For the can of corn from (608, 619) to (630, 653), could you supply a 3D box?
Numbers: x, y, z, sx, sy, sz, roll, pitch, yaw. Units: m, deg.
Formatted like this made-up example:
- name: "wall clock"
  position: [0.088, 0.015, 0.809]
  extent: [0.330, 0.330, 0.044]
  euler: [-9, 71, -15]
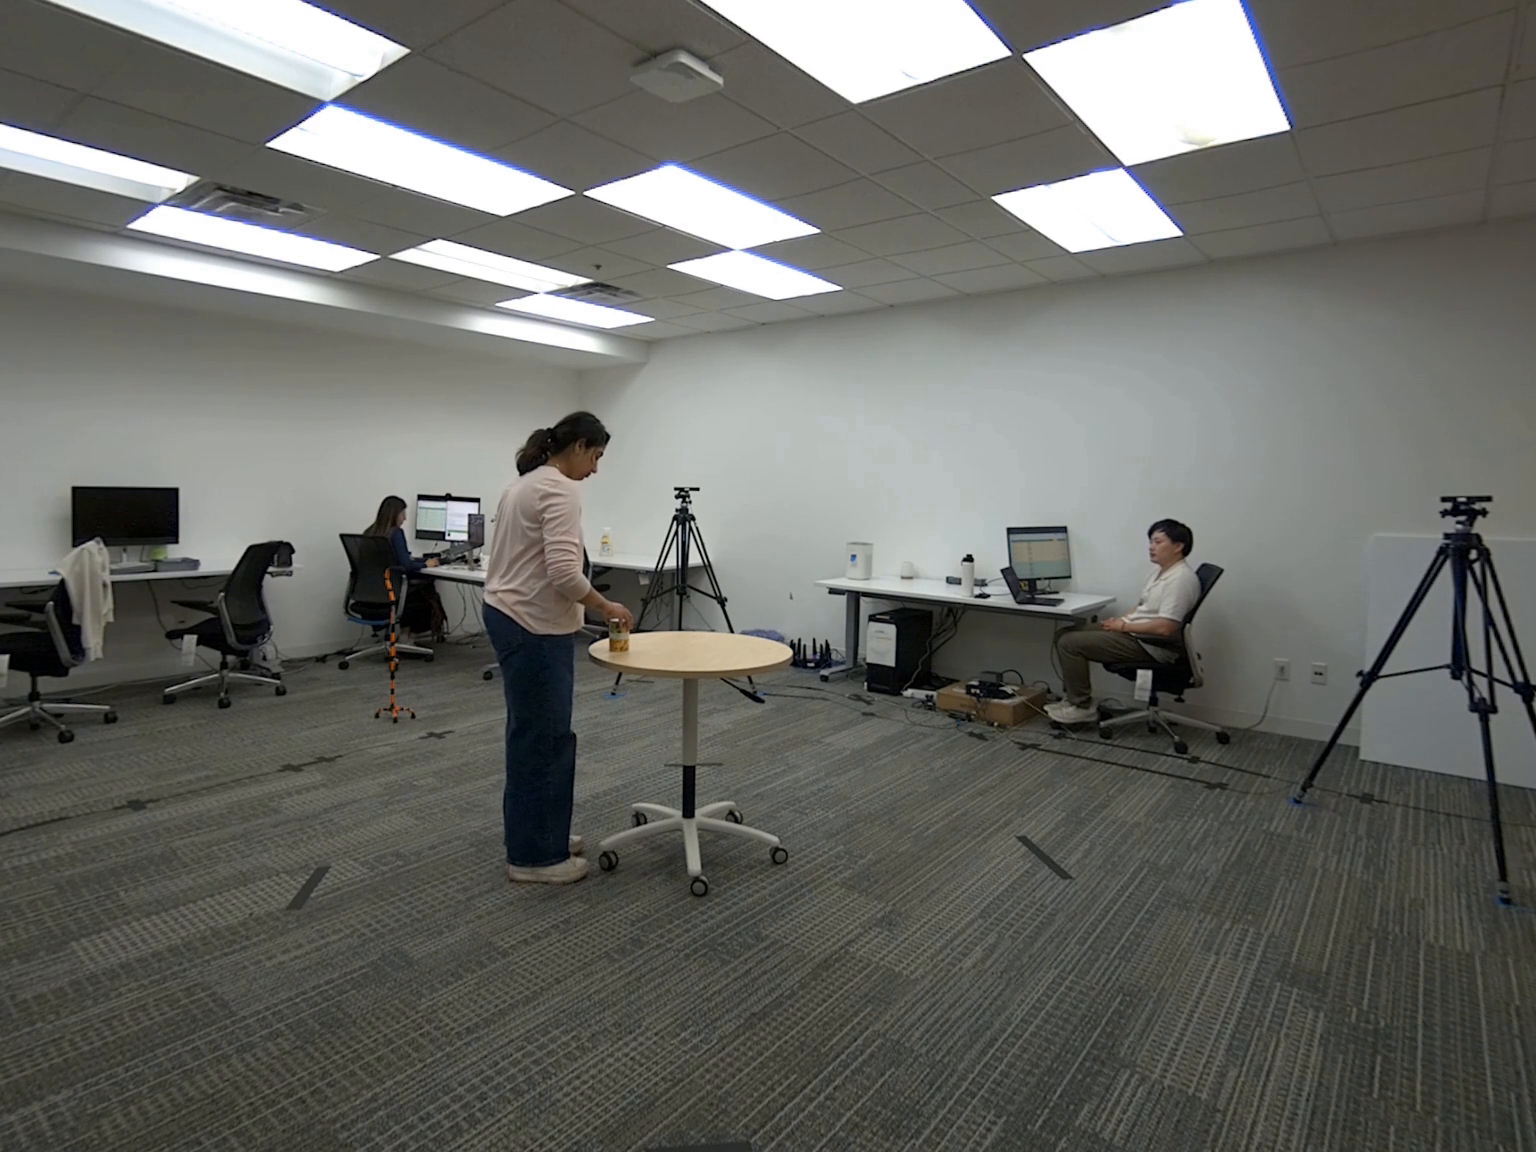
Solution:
- name: "can of corn"
  position: [-0.562, 0.220, 3.145]
  extent: [0.074, 0.111, 0.074]
  euler: [2, 4, -2]
